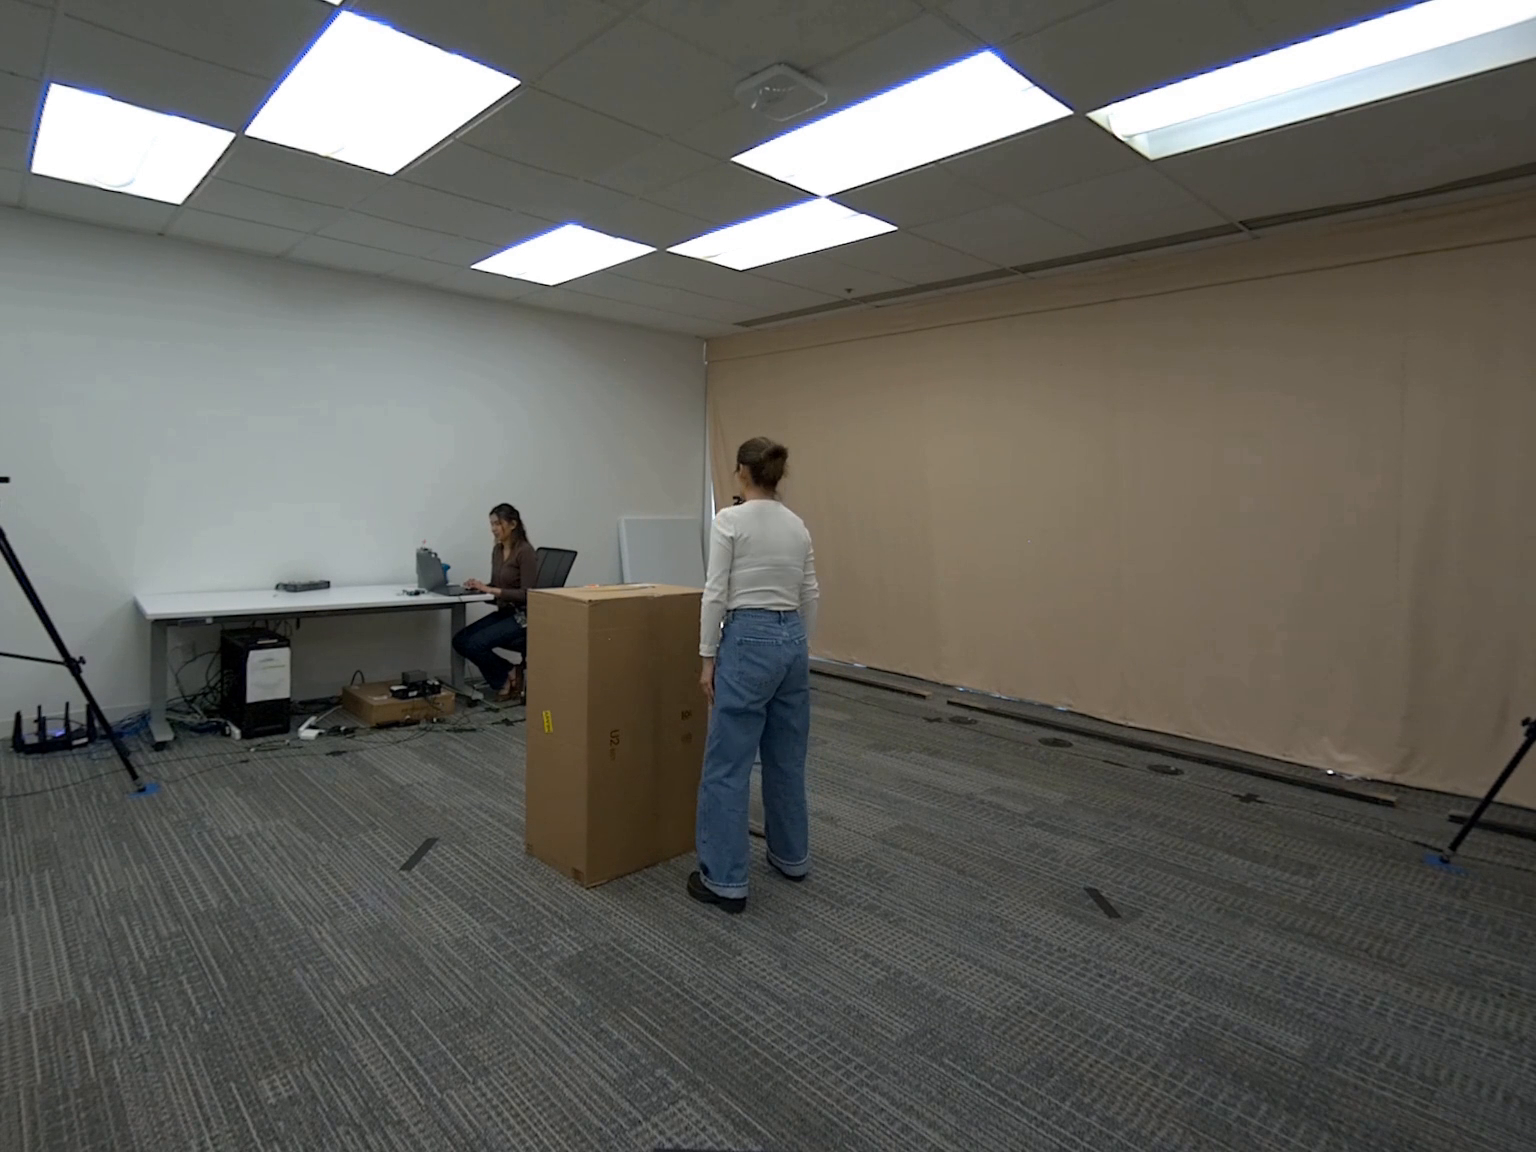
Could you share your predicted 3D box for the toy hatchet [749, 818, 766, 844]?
[{"bbox_3d":[-0.060,1.058,3.532,0.276,0.029,0.128,6,3,29],"label":"toy hatchet"}]
